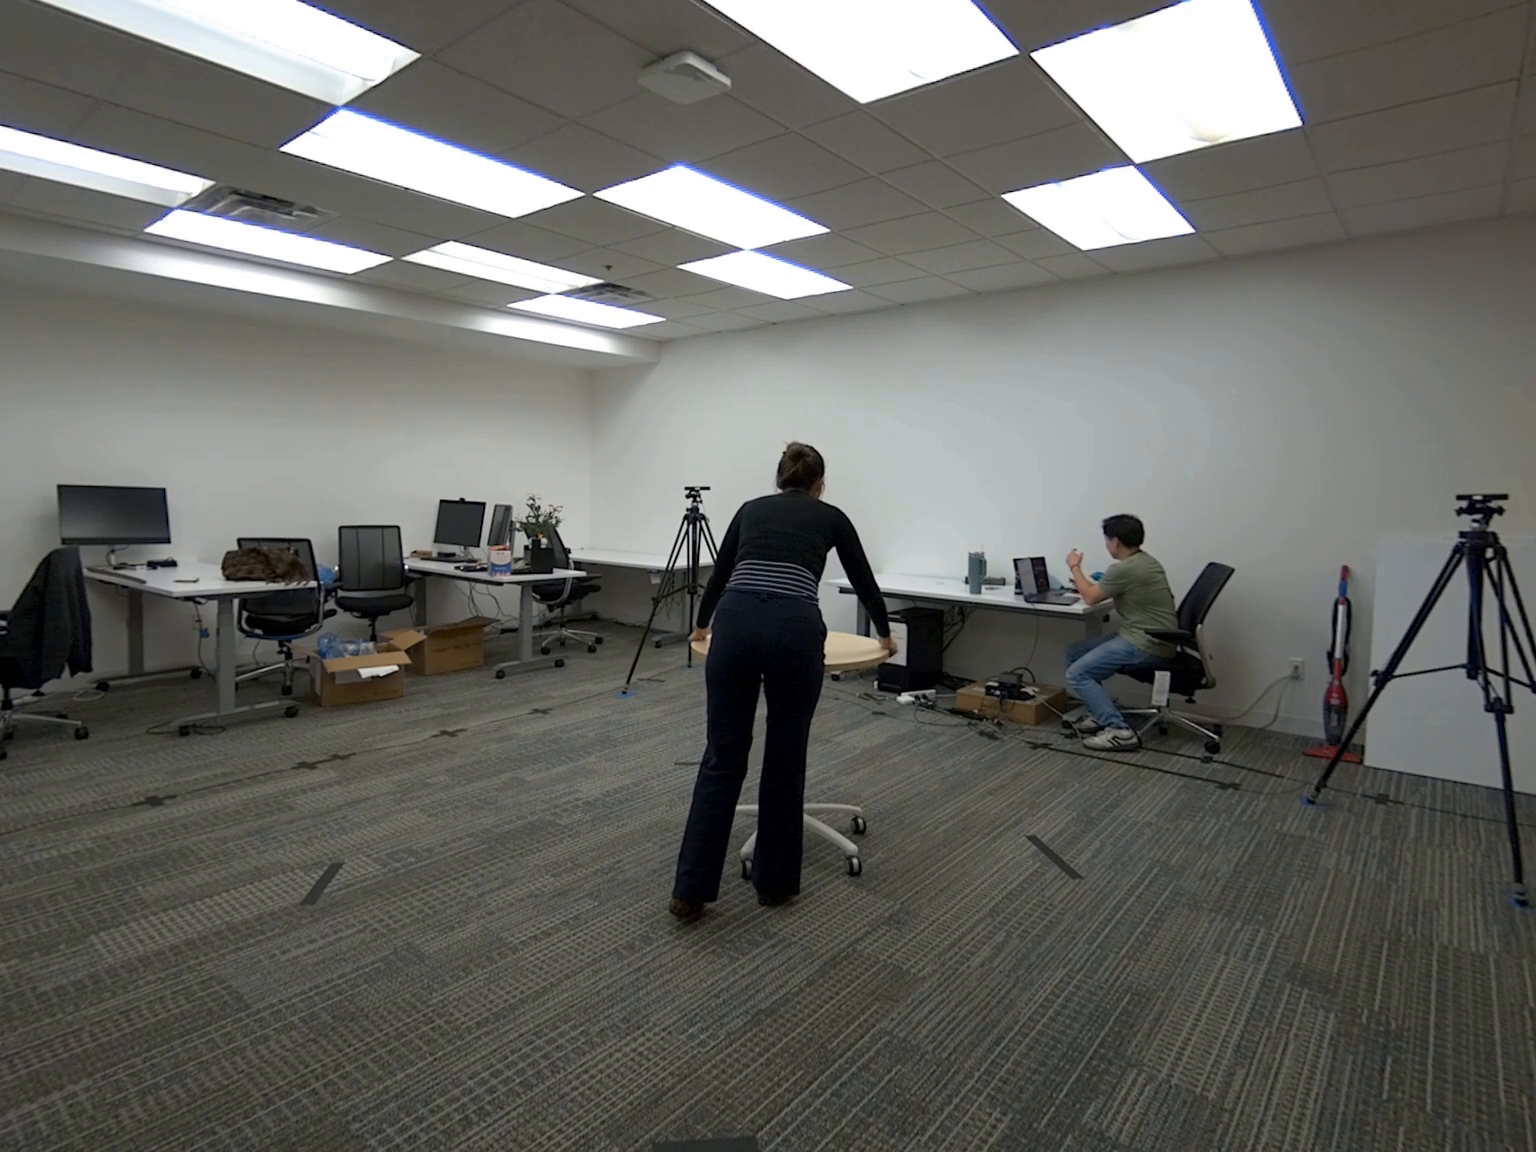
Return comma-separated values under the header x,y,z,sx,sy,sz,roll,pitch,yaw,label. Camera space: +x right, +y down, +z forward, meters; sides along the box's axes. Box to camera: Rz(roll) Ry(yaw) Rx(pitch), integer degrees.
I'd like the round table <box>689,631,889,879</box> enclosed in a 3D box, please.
x,y,z,sx,sy,sz,roll,pitch,yaw,label
0.070,0.655,3.332,0.763,0.791,0.768,1,4,-2,round table
